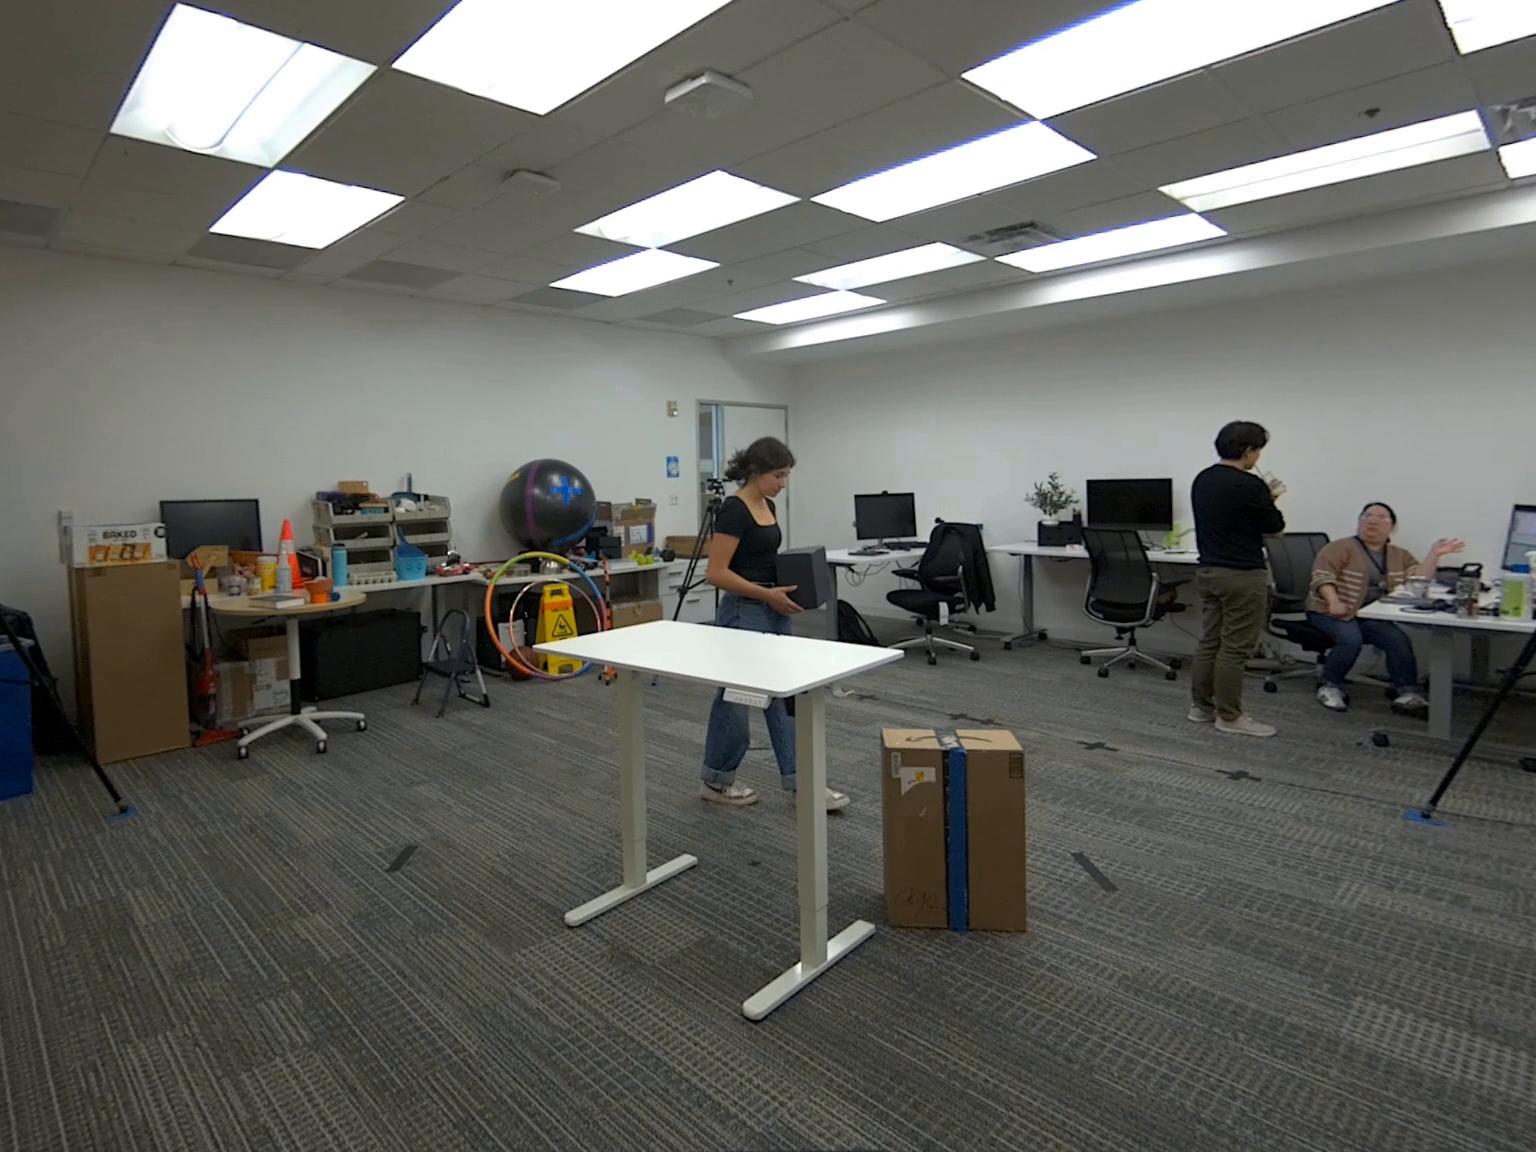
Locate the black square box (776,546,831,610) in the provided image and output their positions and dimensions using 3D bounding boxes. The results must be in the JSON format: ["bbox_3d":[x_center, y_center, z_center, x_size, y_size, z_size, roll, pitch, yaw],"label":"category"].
[{"bbox_3d":[0.144,0.001,3.528,0.159,0.227,0.214,-5,6,23],"label":"black square box"}]
